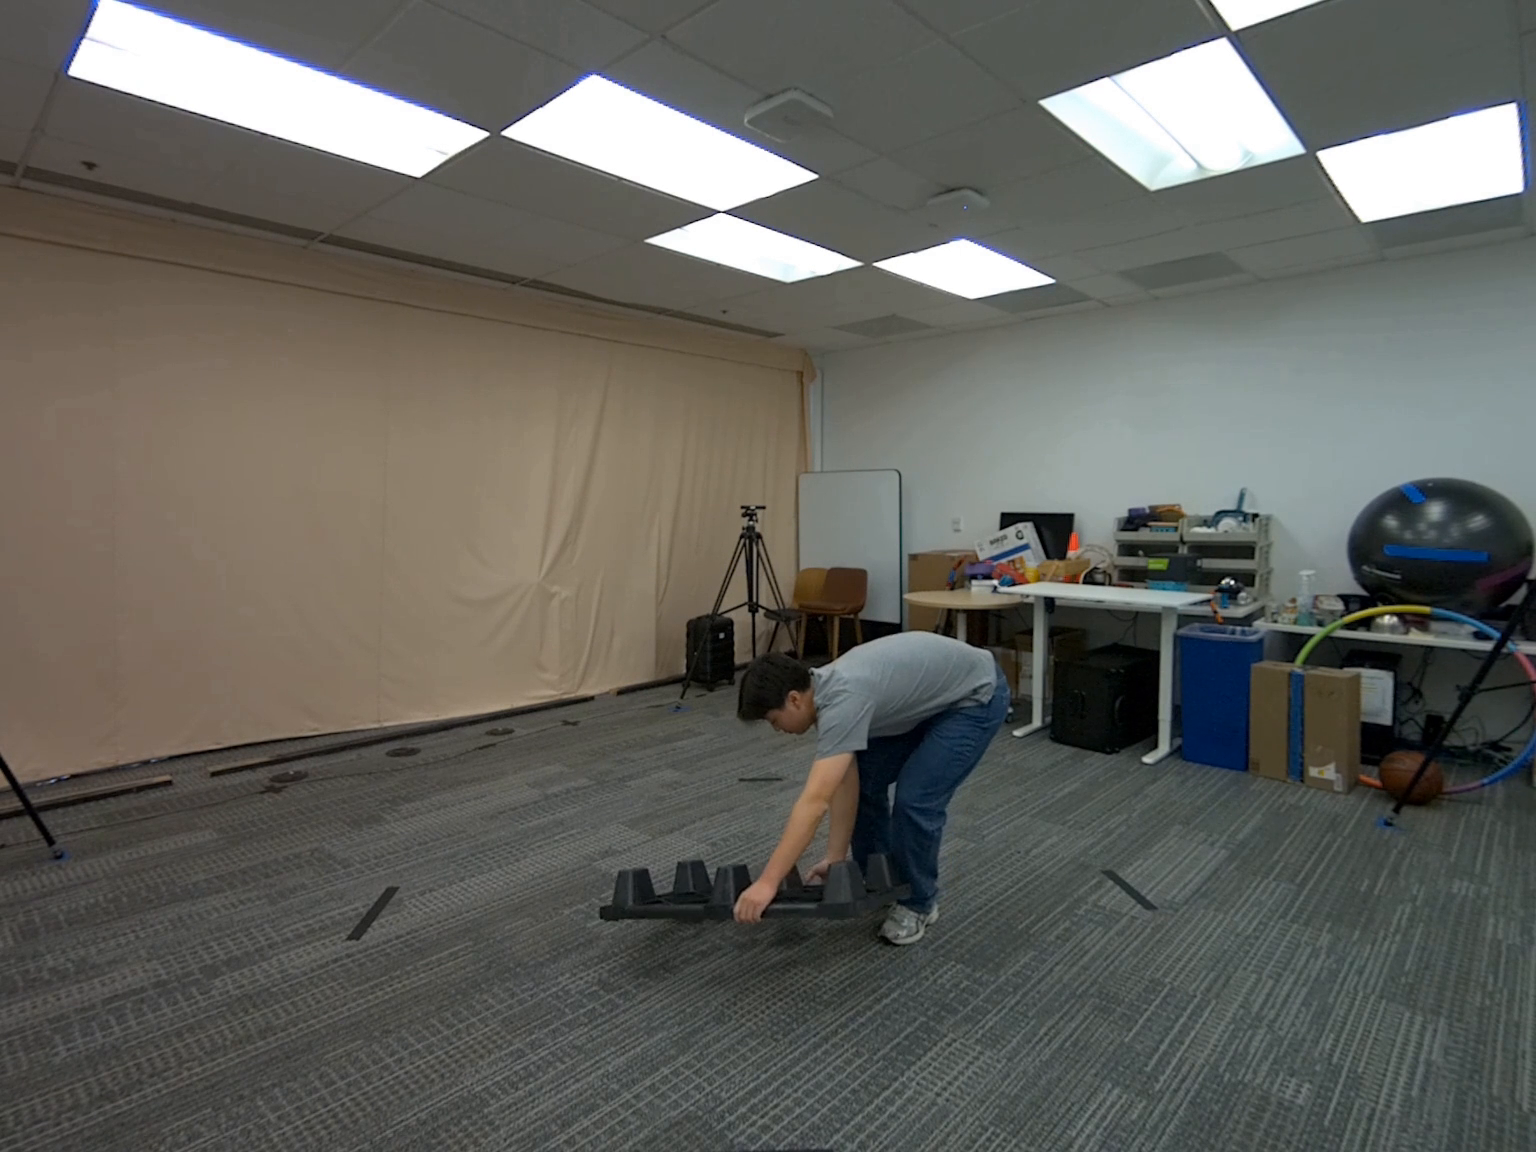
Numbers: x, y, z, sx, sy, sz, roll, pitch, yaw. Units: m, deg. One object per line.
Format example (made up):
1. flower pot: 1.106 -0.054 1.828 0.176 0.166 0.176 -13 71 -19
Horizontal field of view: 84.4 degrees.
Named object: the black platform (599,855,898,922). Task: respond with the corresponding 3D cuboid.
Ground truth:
1. black platform: -0.029 0.956 2.591 0.822 0.145 0.586 -10 -18 23
